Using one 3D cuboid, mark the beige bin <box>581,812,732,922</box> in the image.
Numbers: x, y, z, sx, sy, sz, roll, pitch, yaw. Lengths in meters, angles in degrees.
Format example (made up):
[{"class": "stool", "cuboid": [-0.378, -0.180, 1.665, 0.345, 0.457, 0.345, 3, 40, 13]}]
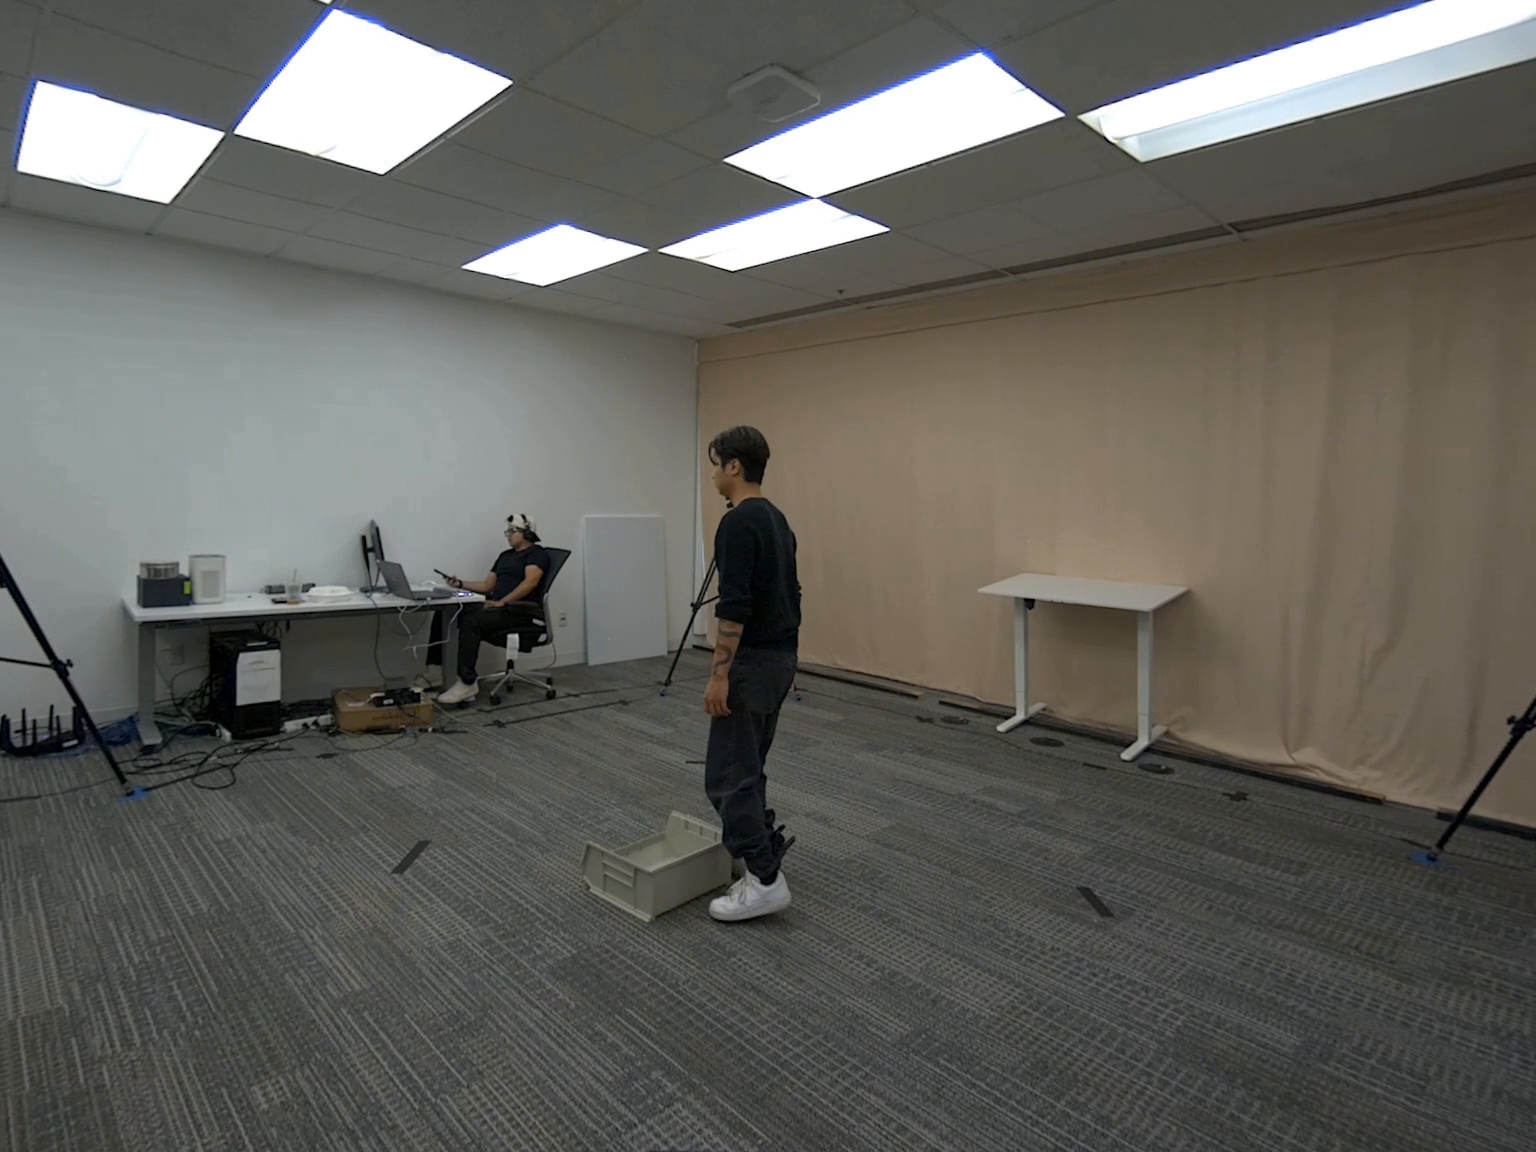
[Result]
[{"class": "beige bin", "cuboid": [-0.398, 1.021, 3.013, 0.387, 0.188, 0.412, 7, 7, 42]}]
